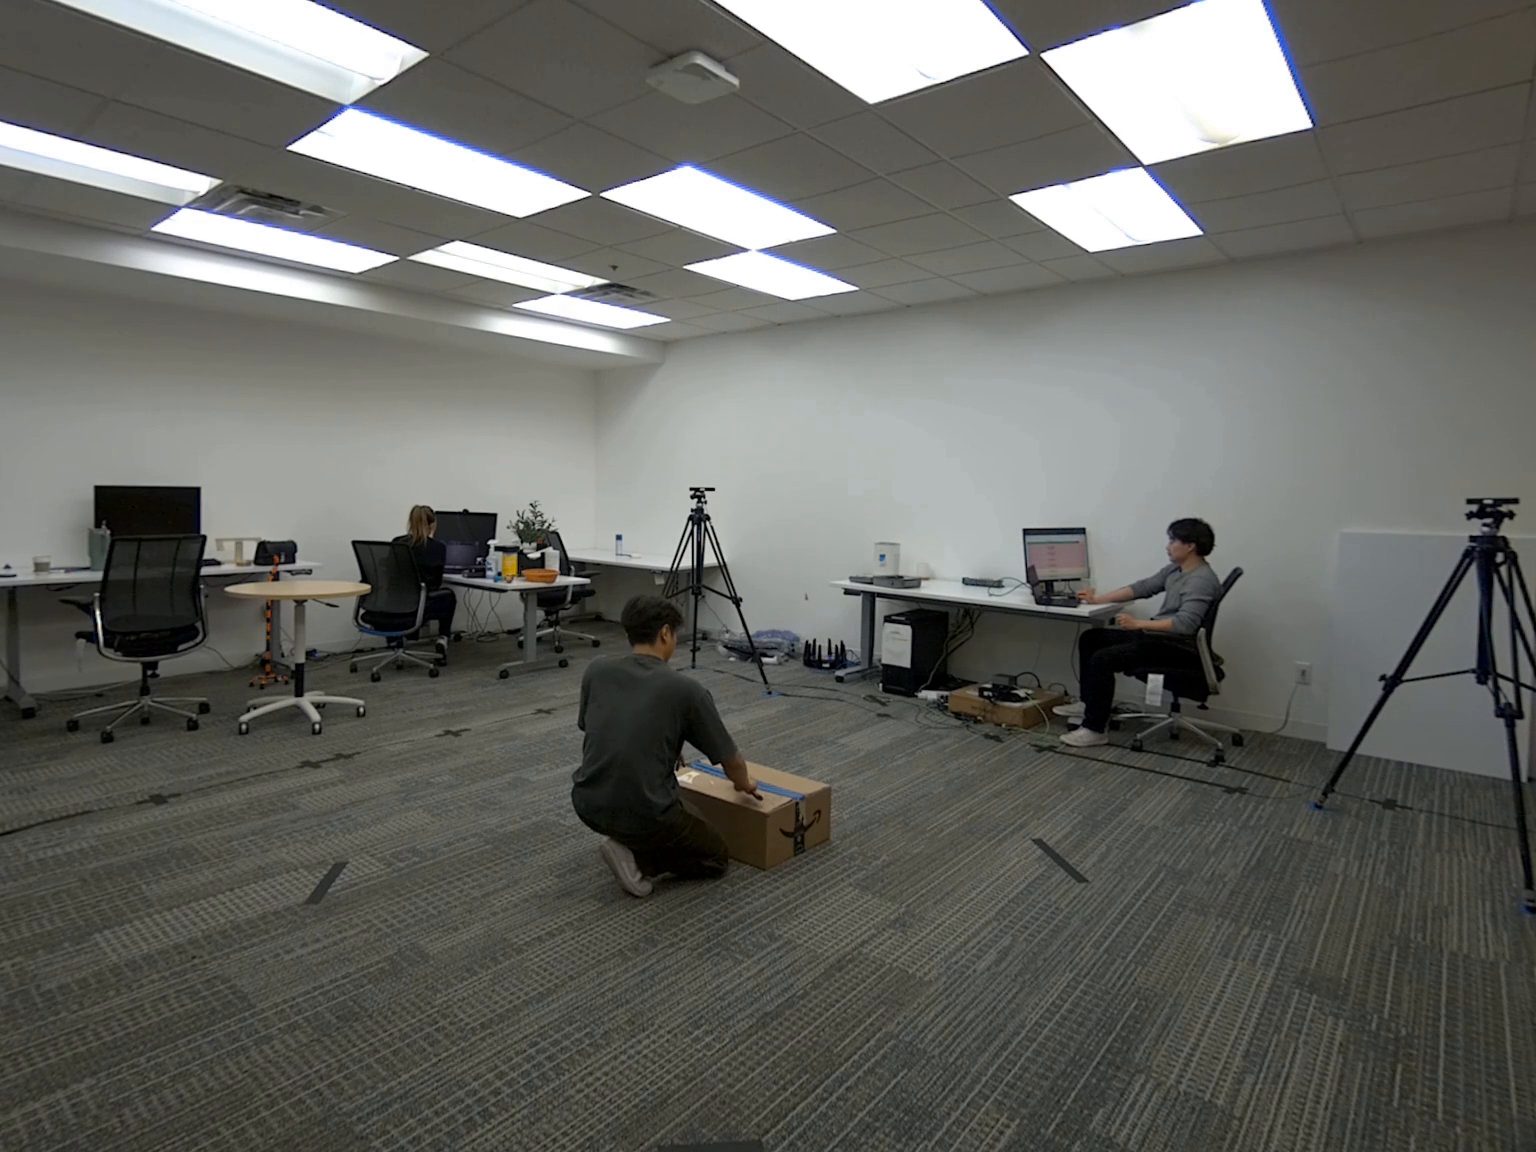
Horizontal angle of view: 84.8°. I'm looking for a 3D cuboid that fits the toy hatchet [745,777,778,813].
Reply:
[{"bbox_3d":[-0.078,0.810,3.267,0.126,0.029,0.279,40,-5,-29],"label":"toy hatchet"}]
